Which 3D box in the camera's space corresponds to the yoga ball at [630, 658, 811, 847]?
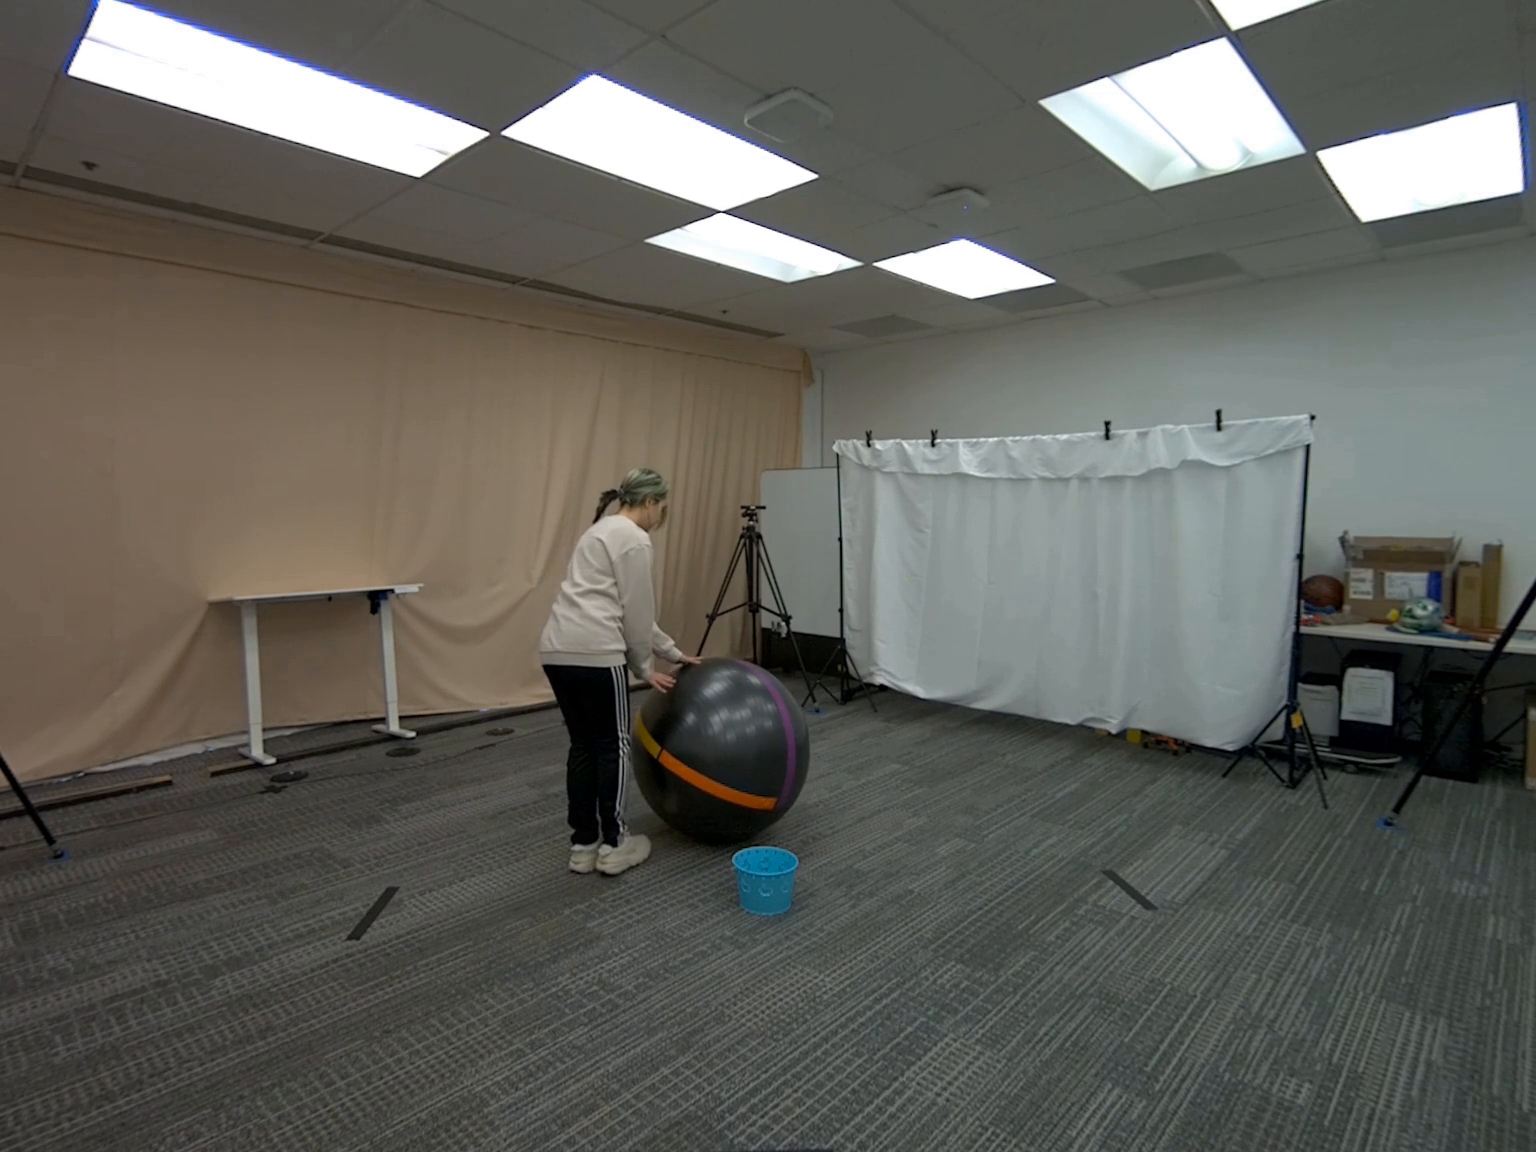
[{"bbox_3d":[-0.198,0.726,3.568,0.757,0.756,0.760,0,4,-2],"label":"yoga ball"}]
